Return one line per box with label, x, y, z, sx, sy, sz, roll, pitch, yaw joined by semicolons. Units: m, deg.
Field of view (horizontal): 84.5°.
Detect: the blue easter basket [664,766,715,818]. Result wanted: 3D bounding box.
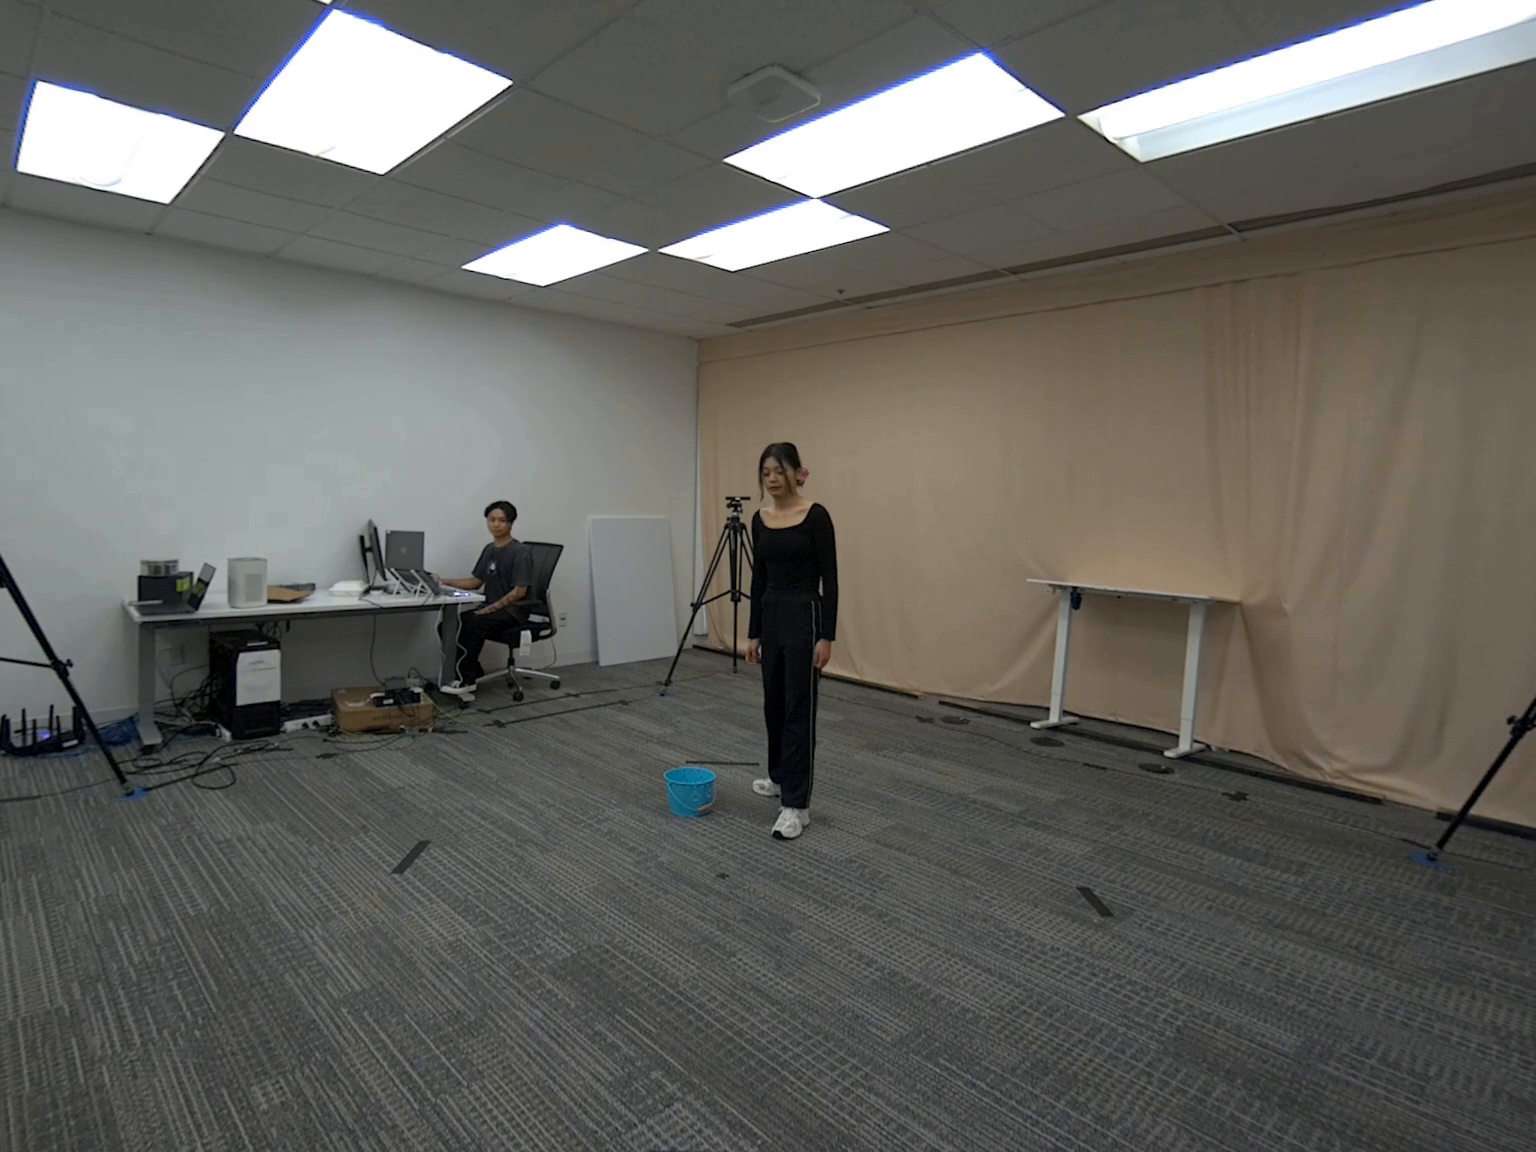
blue easter basket;-0.357;0.965;3.766;0.243;0.155;0.244;1;5;-1
